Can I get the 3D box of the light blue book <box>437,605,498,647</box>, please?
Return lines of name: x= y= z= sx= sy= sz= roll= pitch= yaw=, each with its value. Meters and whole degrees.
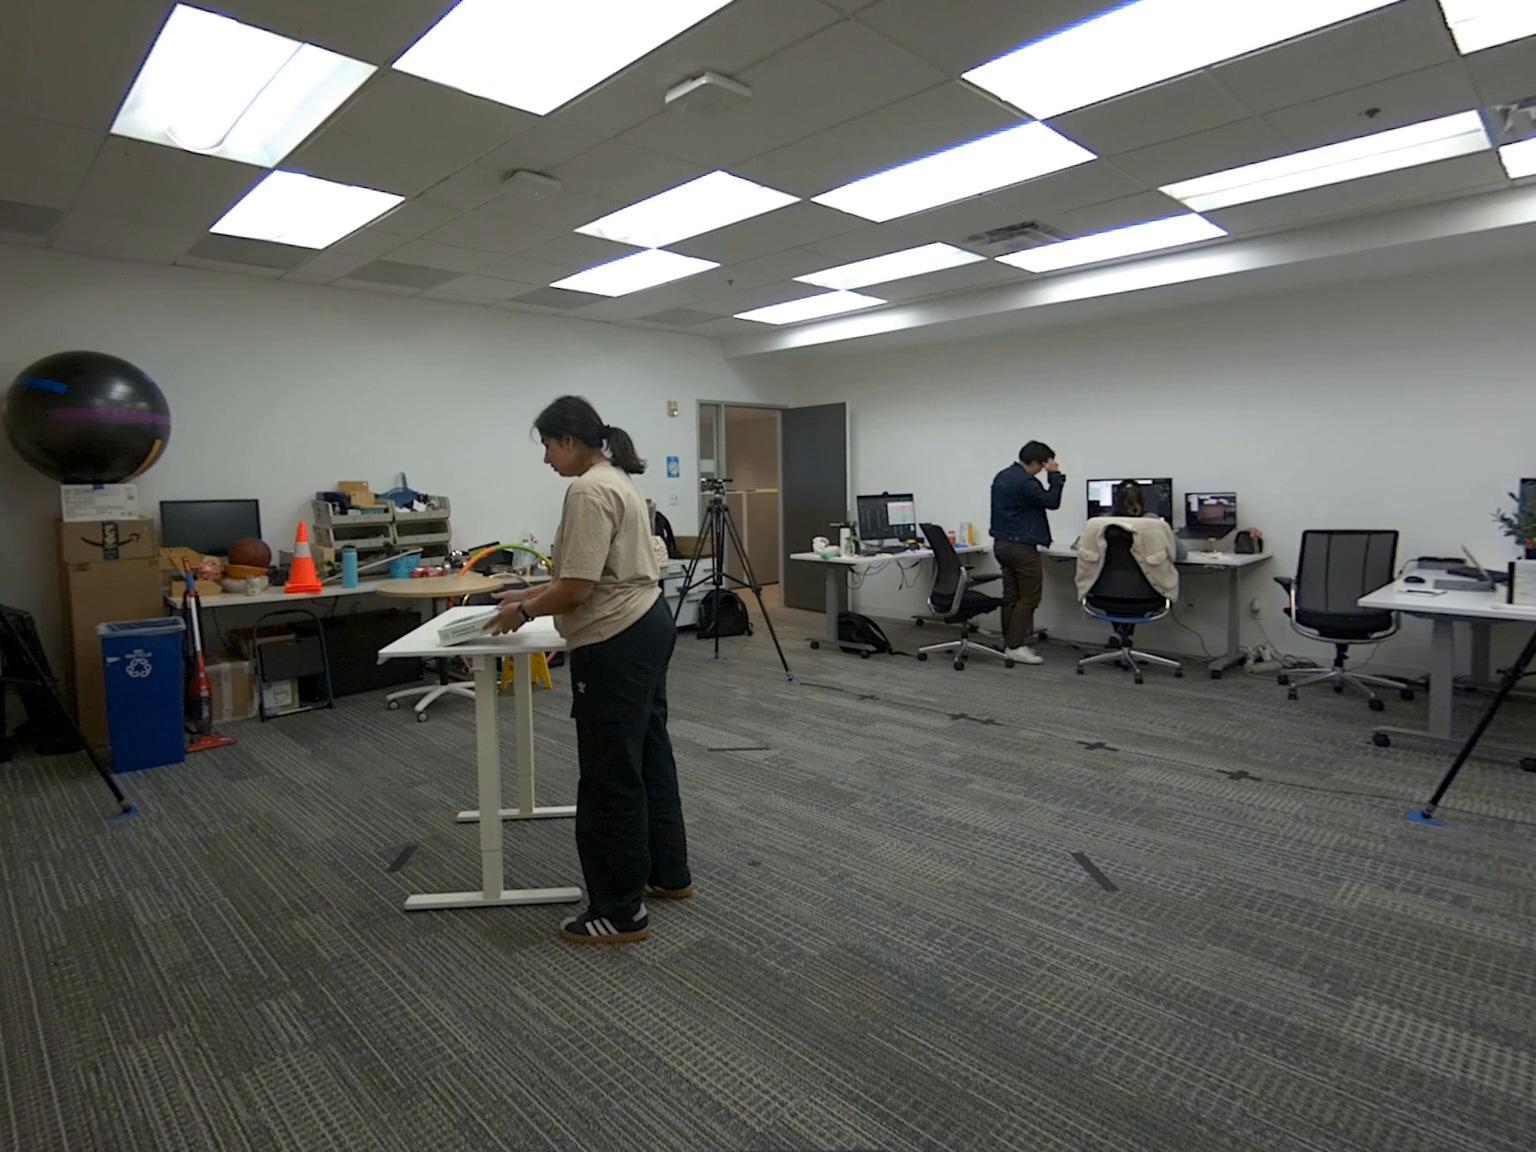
light blue book: x=-0.975 y=0.163 z=2.786 sx=0.191 sy=0.058 sz=0.265 roll=-14 pitch=11 yaw=-6
